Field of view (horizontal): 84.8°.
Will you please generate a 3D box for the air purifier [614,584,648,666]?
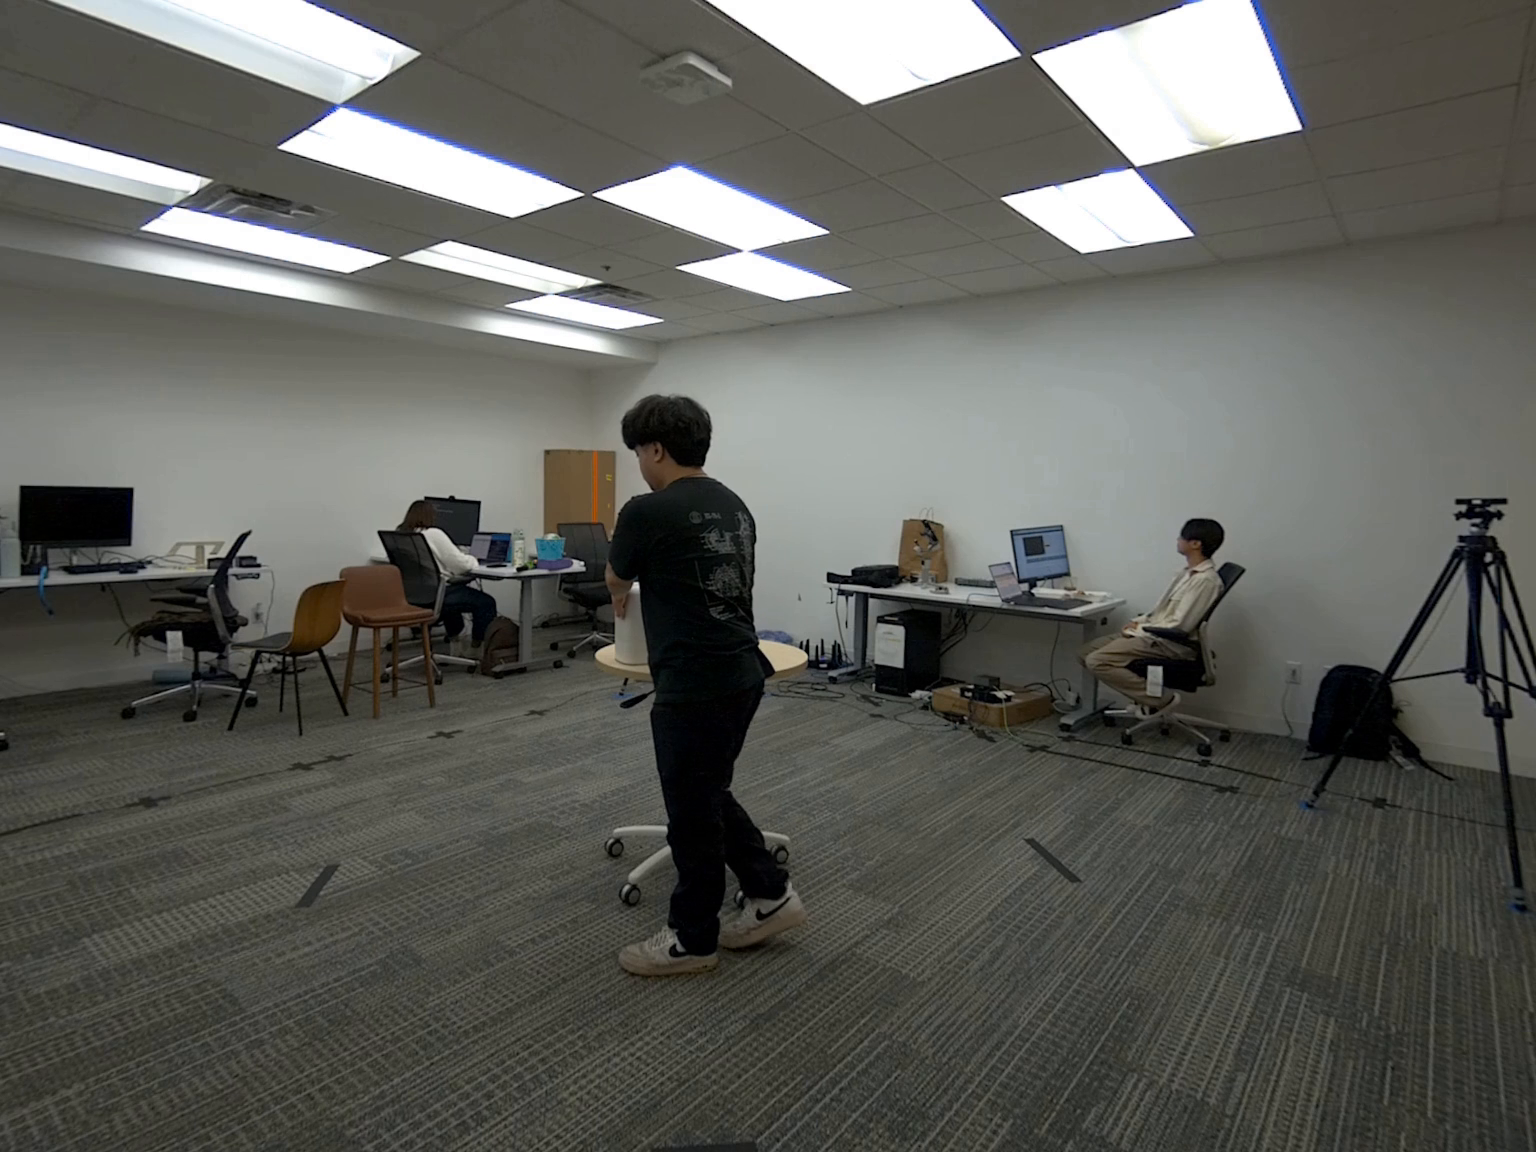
[{"bbox_3d":[-0.442,0.158,2.945,0.167,0.264,0.176,-1,4,-23],"label":"air purifier"}]
